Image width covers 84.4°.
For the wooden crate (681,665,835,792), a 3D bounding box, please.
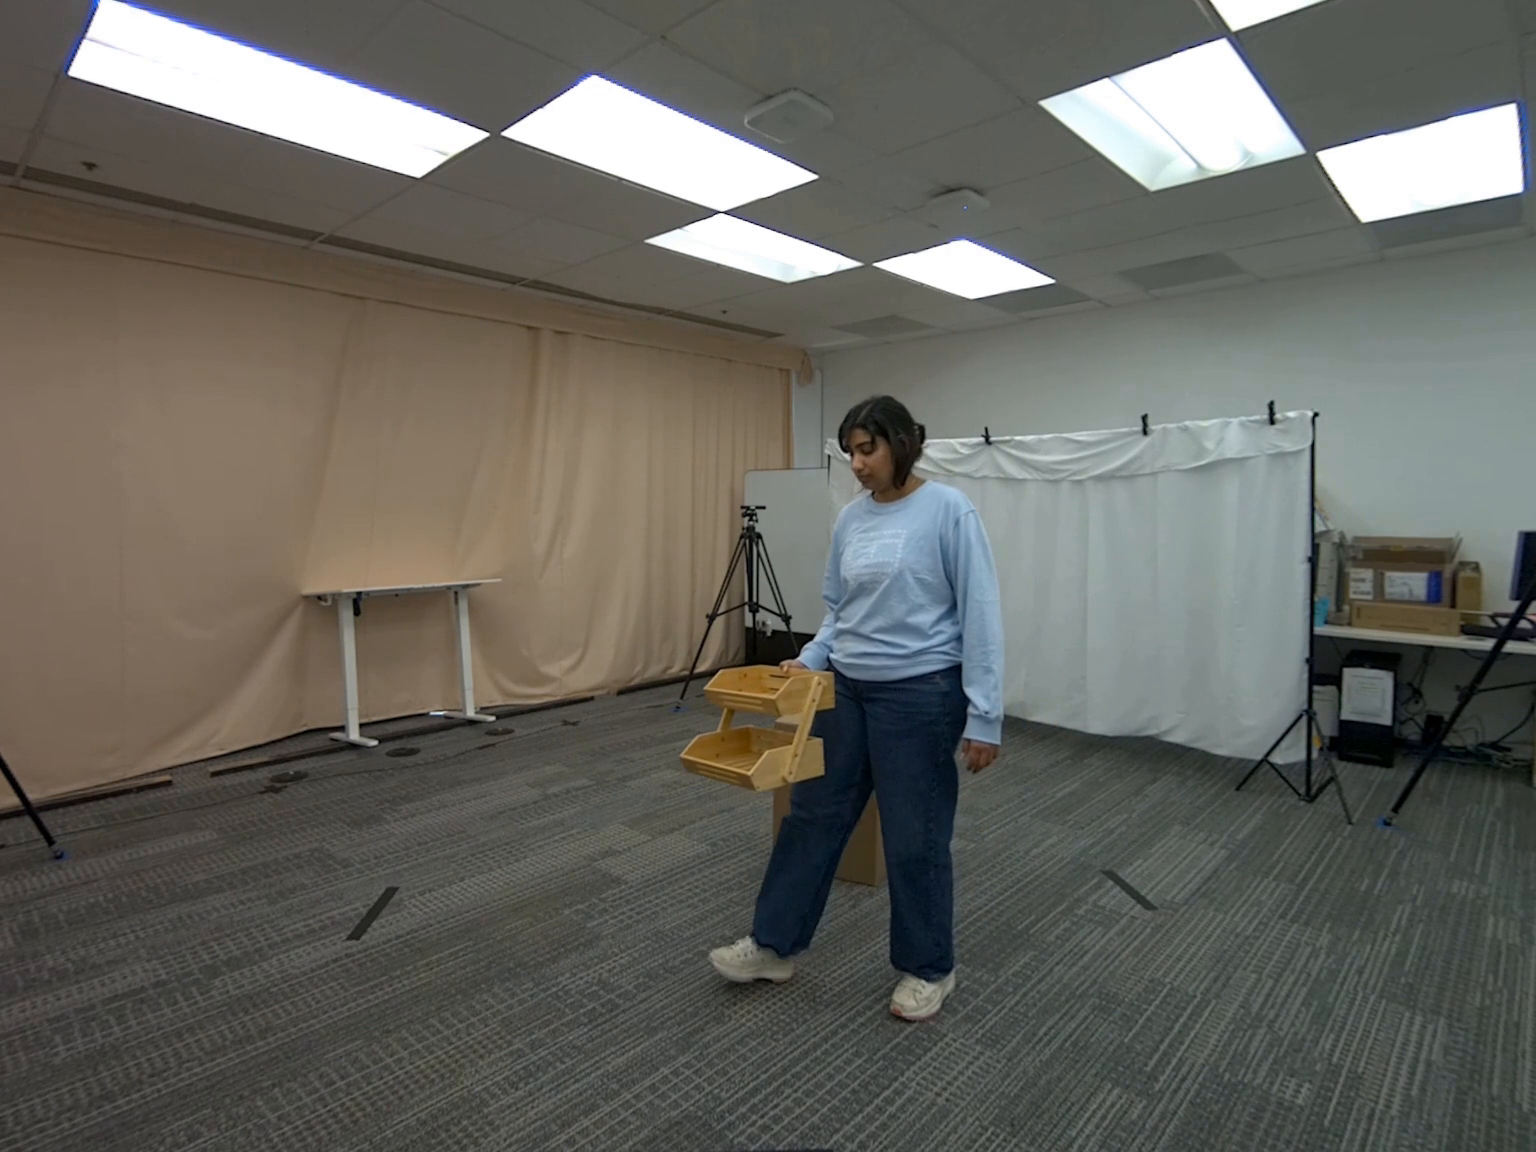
[{"bbox_3d":[-0.034,0.395,2.254,0.293,0.273,0.334,-2,0,-40],"label":"wooden crate"}]
